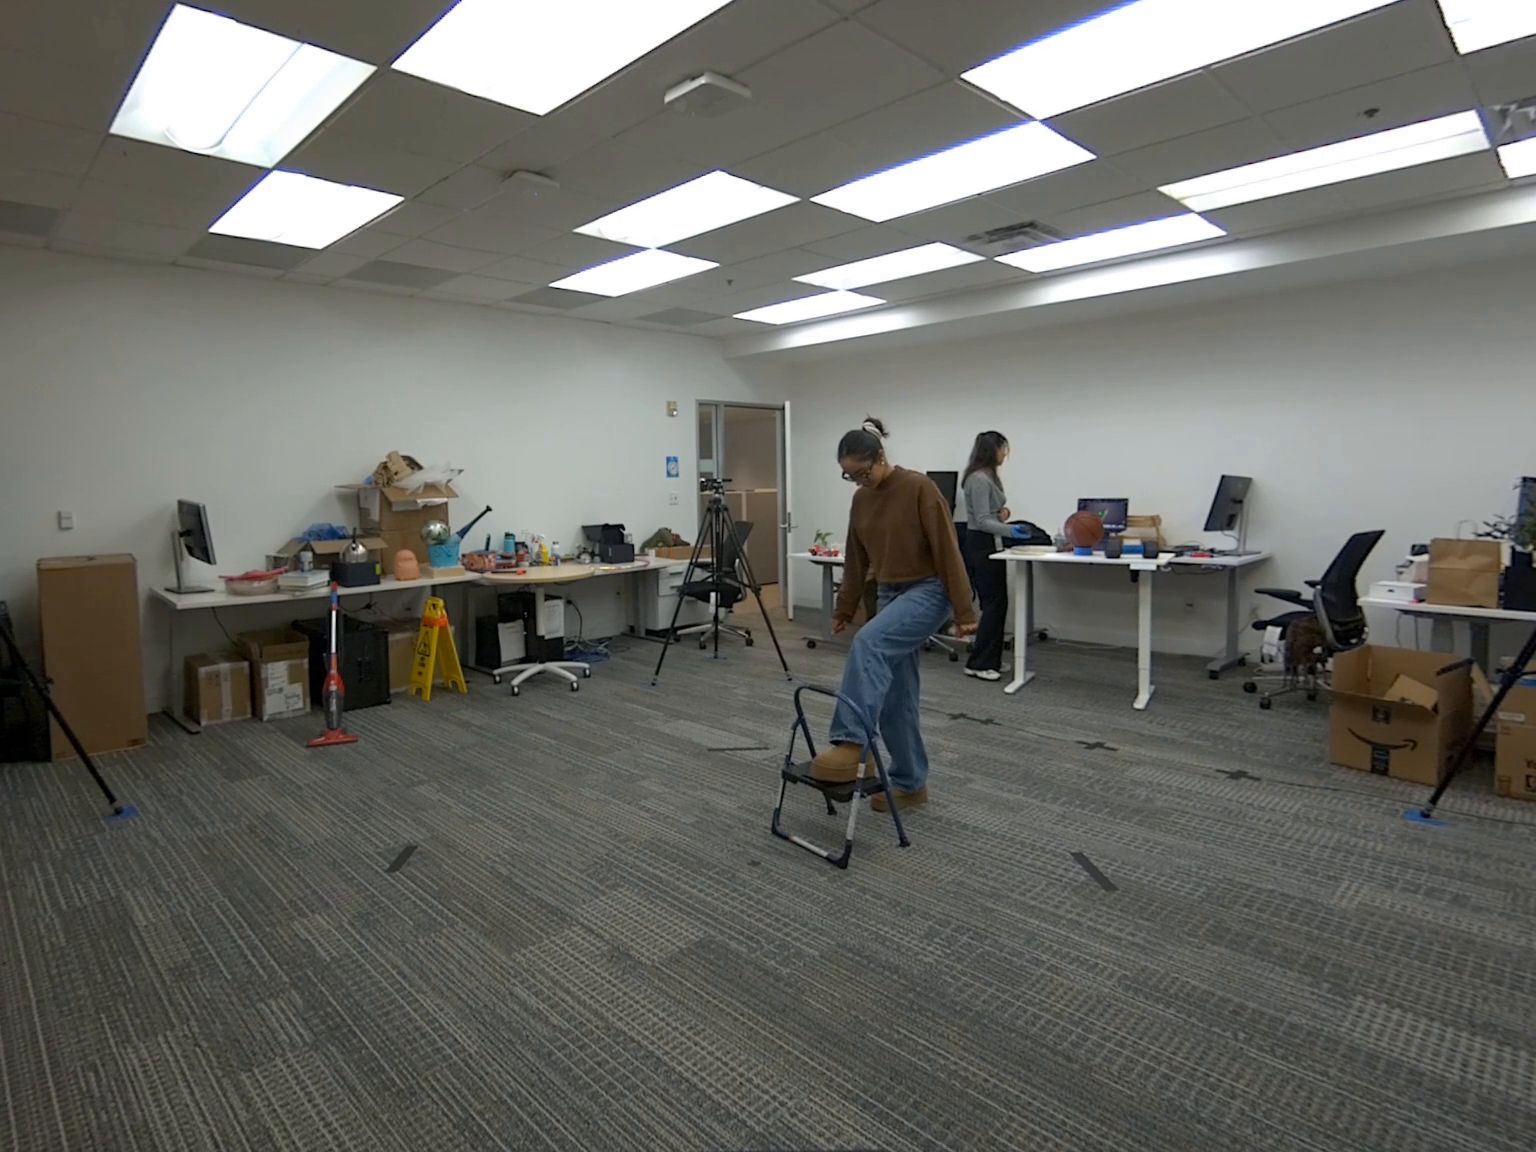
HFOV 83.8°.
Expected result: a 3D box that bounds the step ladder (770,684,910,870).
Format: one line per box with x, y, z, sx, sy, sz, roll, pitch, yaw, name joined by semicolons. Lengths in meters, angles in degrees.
0.268;0.714;3.286;0.340;0.604;0.444;-4;6;-38;step ladder
